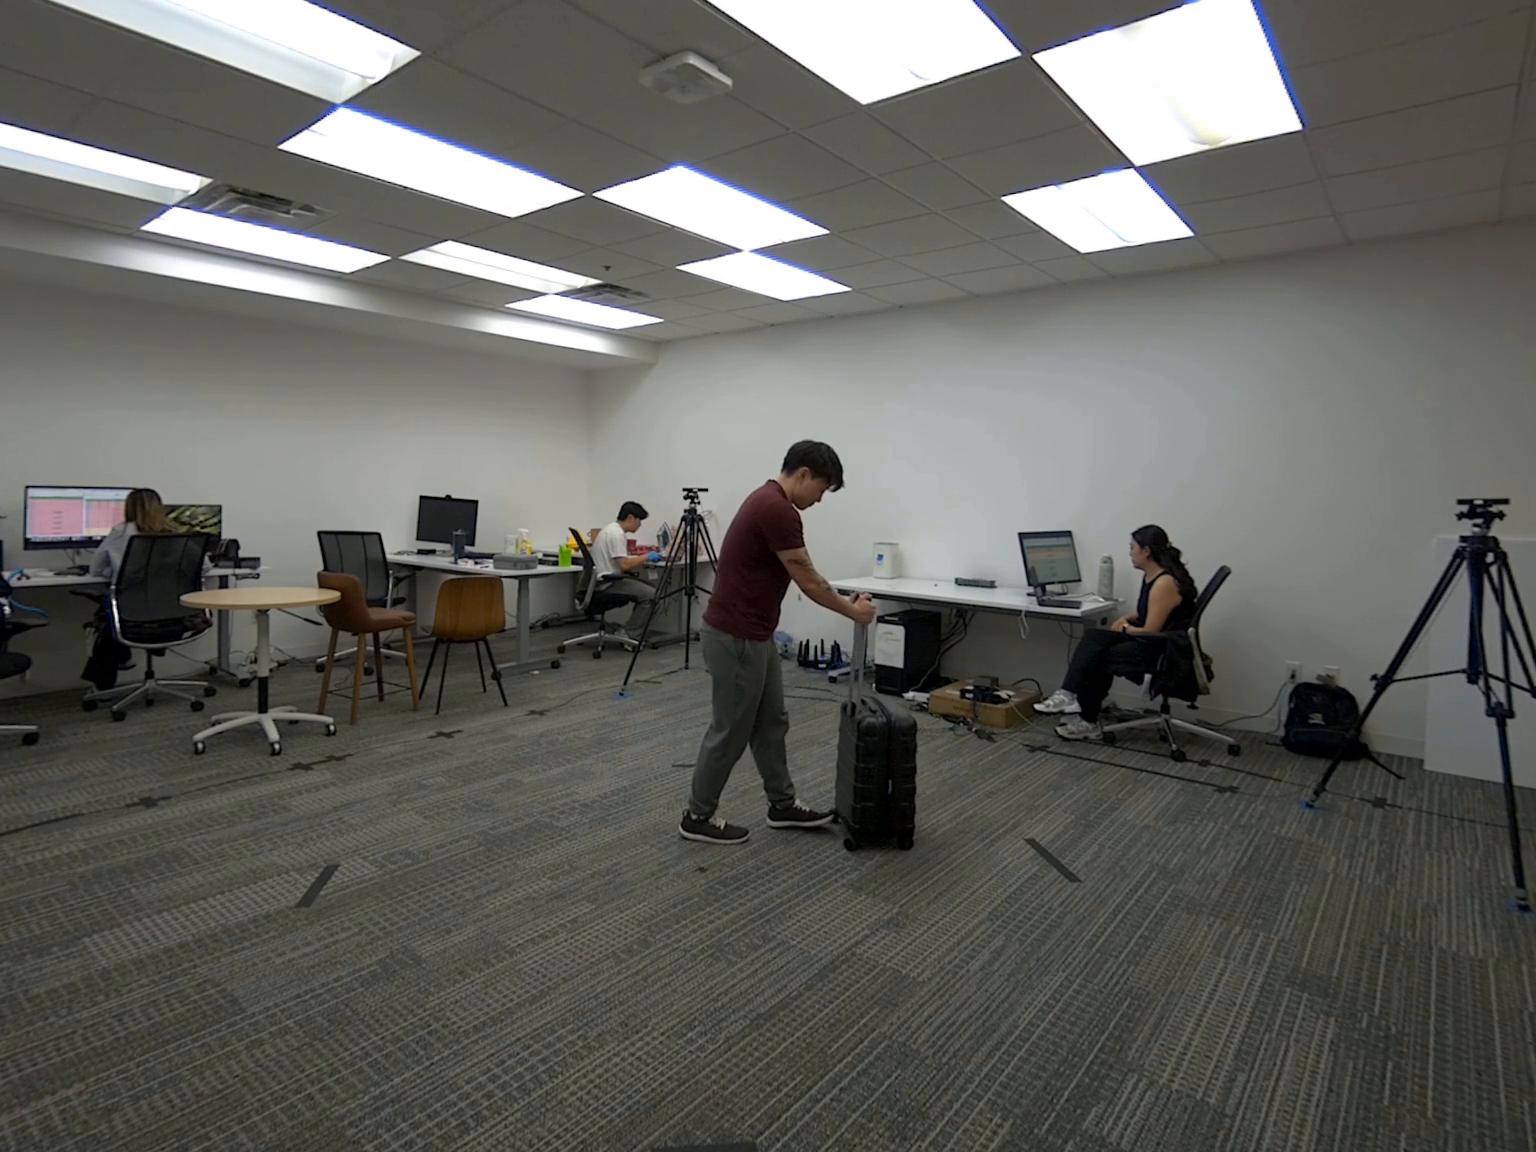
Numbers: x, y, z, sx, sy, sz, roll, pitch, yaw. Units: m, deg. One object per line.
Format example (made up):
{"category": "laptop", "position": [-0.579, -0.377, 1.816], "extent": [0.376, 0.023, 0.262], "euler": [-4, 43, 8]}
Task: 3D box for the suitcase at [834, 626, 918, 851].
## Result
{"category": "suitcase", "position": [0.443, 0.577, 3.423], "extent": [0.255, 0.975, 0.388], "euler": [4, 5, -6]}
